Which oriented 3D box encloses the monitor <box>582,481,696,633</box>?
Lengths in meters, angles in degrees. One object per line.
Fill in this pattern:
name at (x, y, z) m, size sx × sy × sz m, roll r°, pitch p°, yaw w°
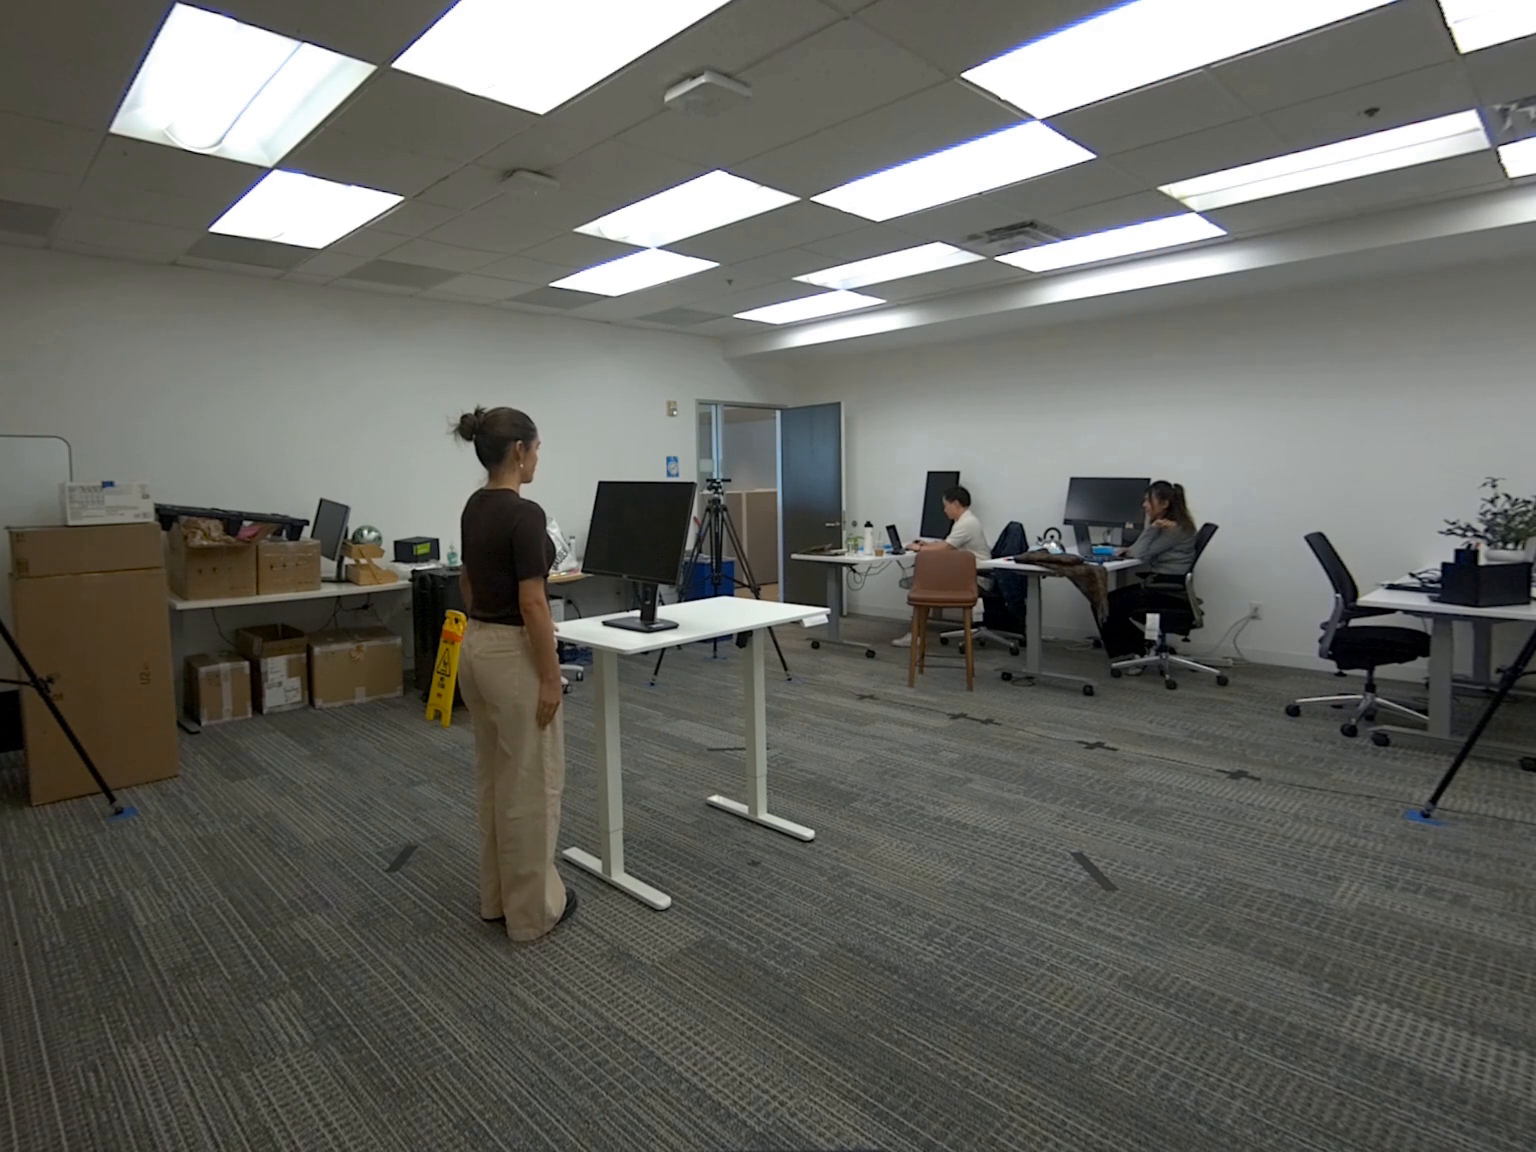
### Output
monitor at (-0.446, -0.073, 3.032) m, size 0.556 × 0.521 × 0.182 m, roll 5°, pitch 4°, yaw 42°
